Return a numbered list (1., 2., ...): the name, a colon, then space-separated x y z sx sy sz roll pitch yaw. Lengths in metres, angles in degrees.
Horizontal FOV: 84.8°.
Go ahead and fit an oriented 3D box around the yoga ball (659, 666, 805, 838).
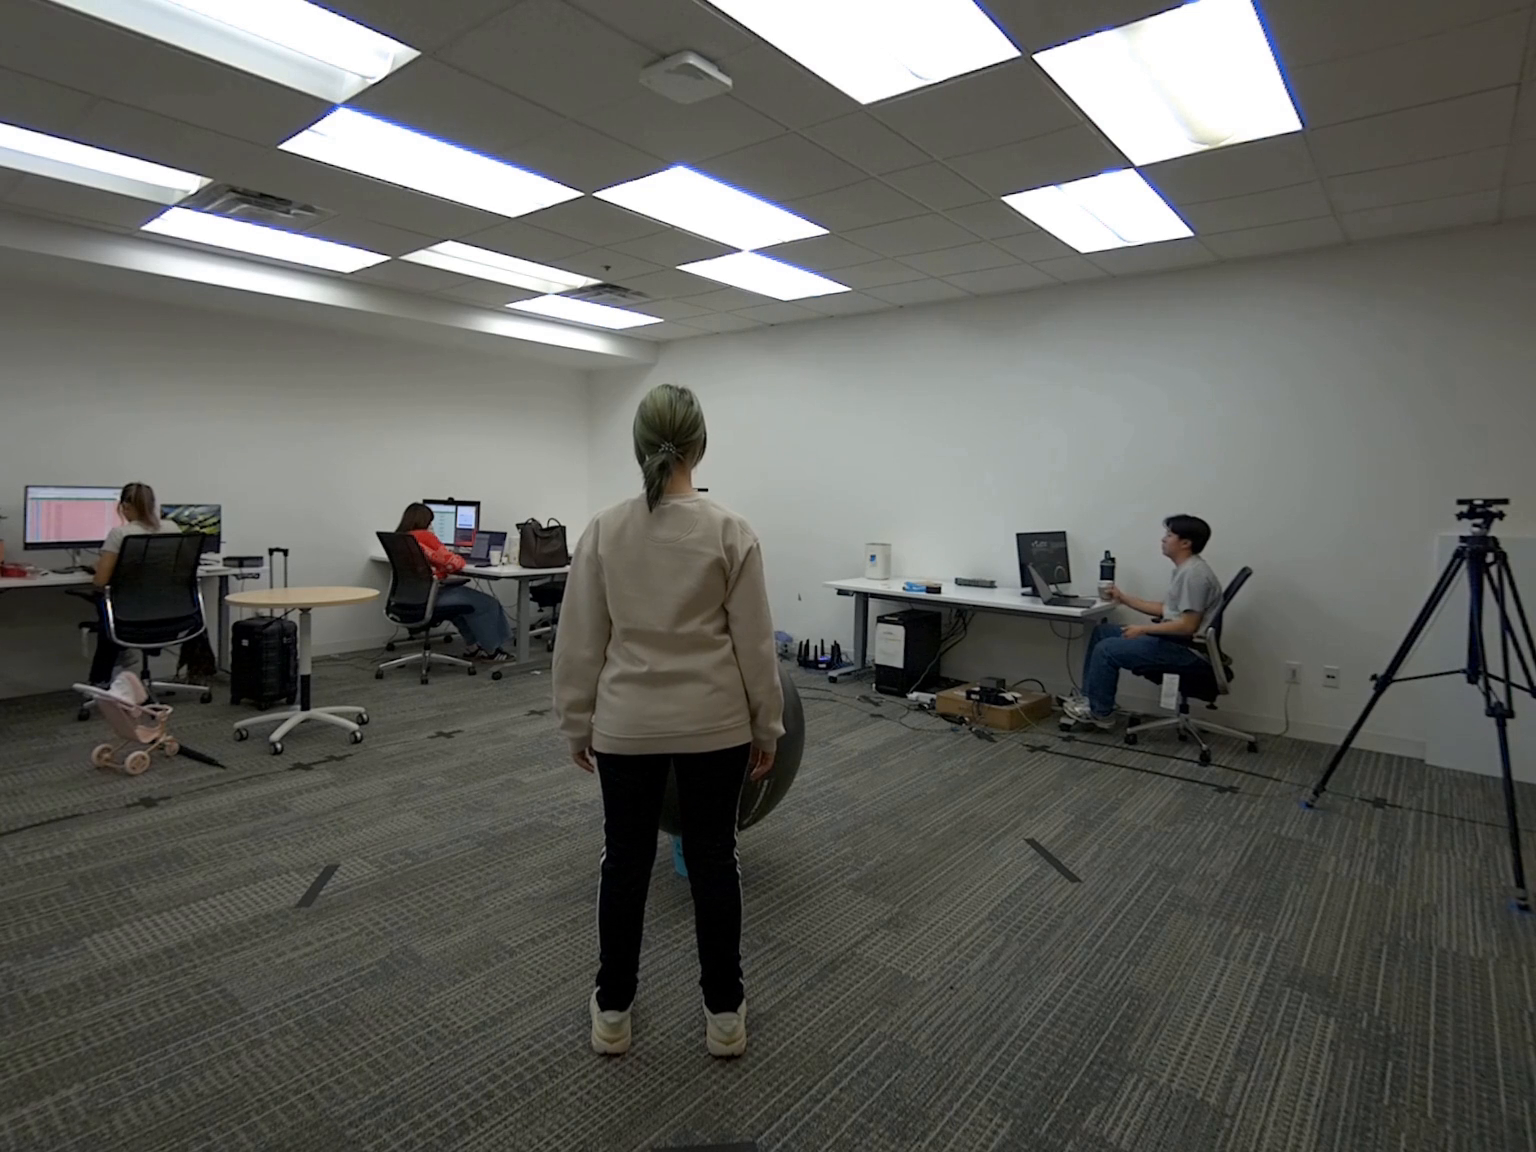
1. yoga ball: -0.249 0.553 3.107 0.757 0.756 0.762 1 4 -2
